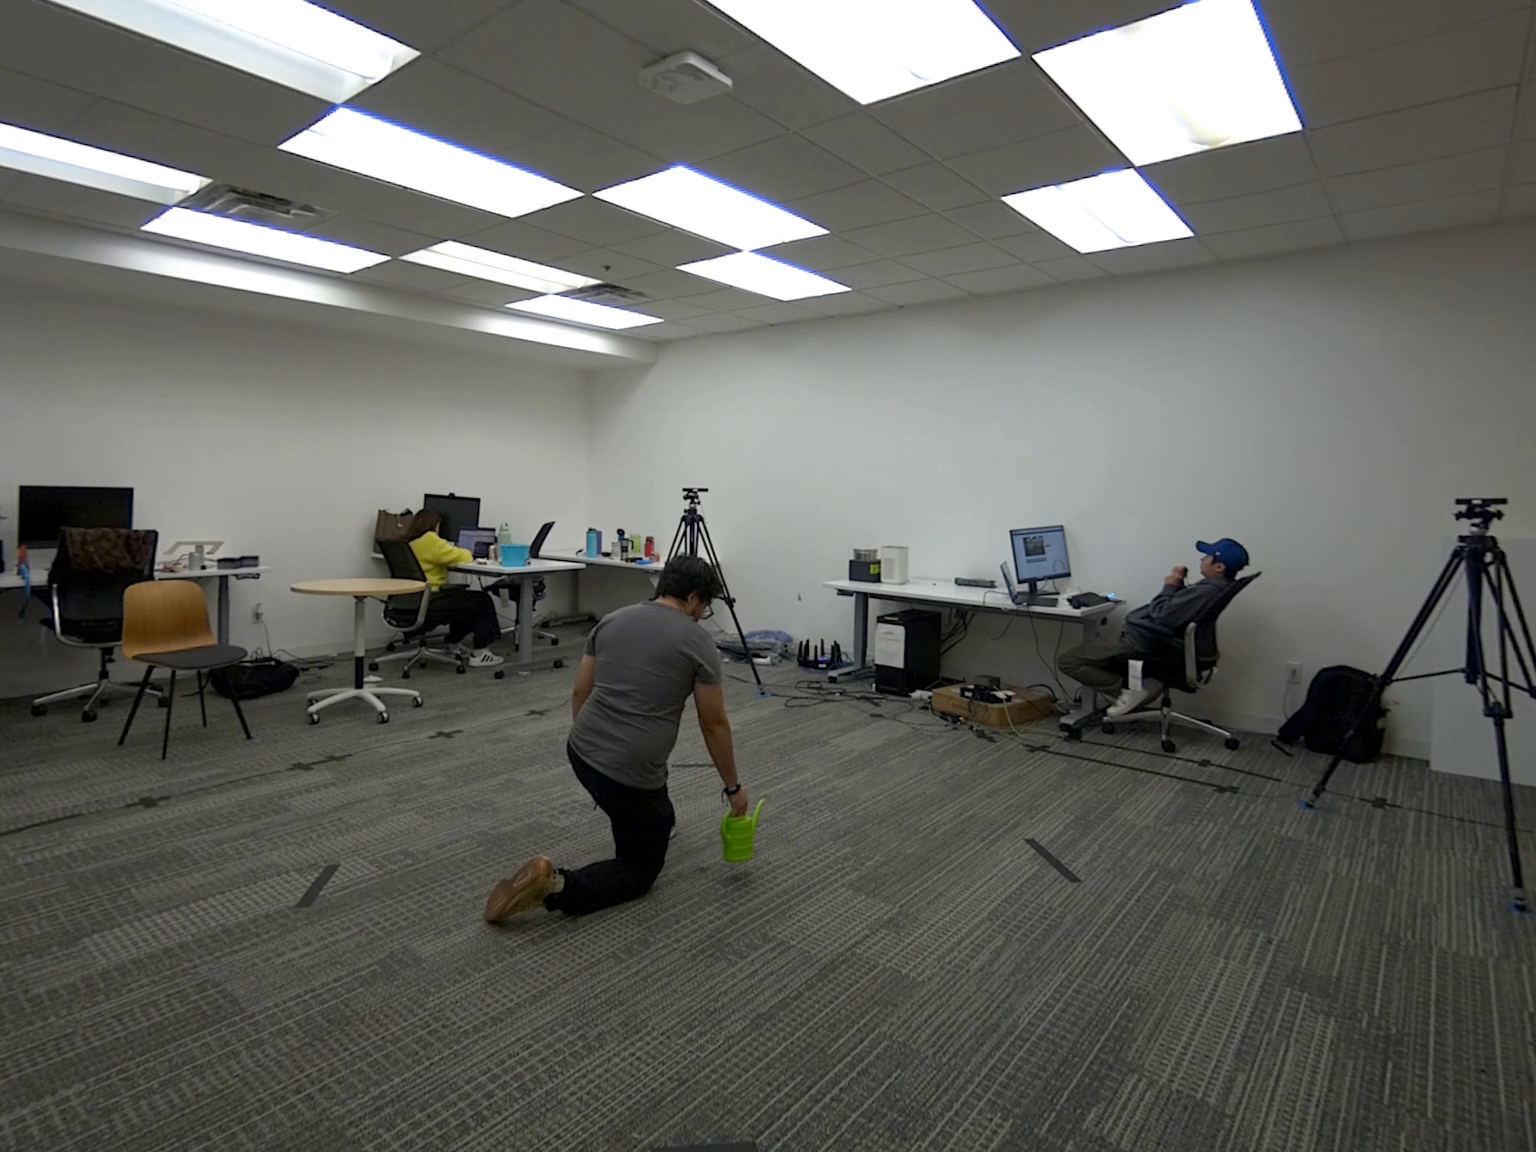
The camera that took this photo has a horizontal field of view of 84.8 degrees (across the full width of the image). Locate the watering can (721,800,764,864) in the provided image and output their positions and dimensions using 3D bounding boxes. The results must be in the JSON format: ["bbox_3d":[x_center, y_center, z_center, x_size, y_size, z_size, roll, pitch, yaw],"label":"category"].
[{"bbox_3d":[-0.090,0.932,3.090,0.269,0.178,0.101,4,-5,-43],"label":"watering can"}]
